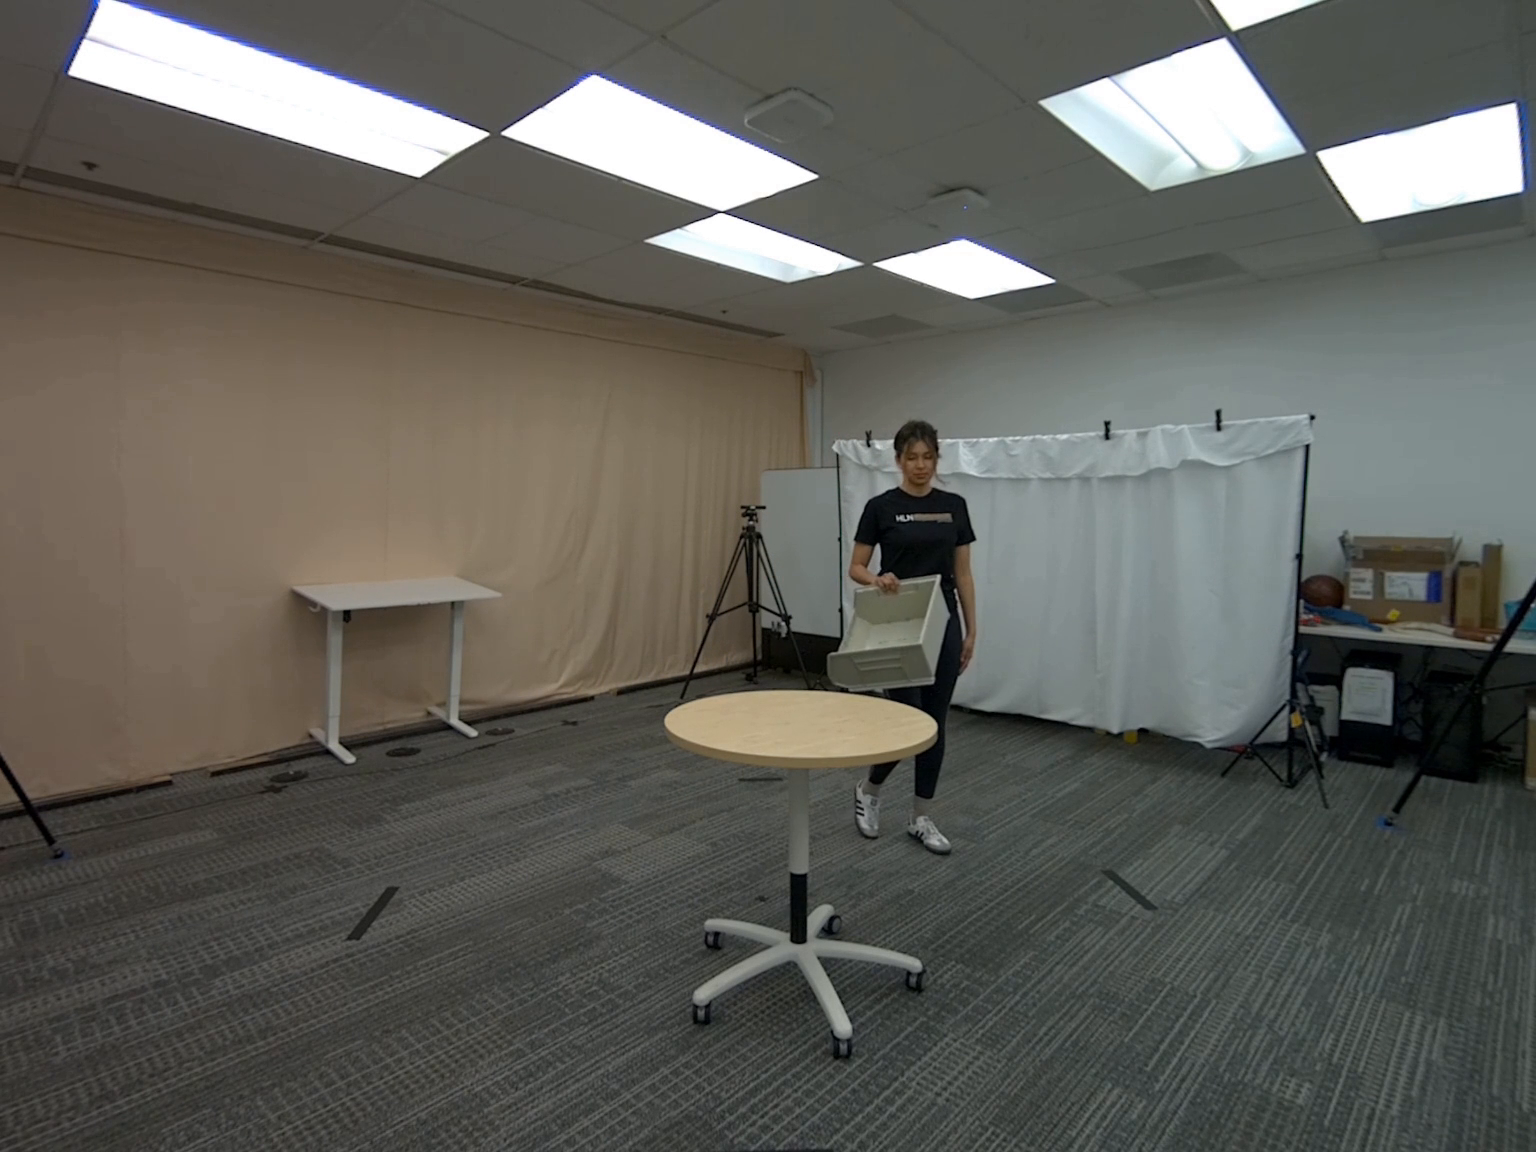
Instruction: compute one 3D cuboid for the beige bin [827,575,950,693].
[{"bbox_3d":[0.449,0.214,3.101,0.386,0.185,0.421,-10,28,28],"label":"beige bin"}]
